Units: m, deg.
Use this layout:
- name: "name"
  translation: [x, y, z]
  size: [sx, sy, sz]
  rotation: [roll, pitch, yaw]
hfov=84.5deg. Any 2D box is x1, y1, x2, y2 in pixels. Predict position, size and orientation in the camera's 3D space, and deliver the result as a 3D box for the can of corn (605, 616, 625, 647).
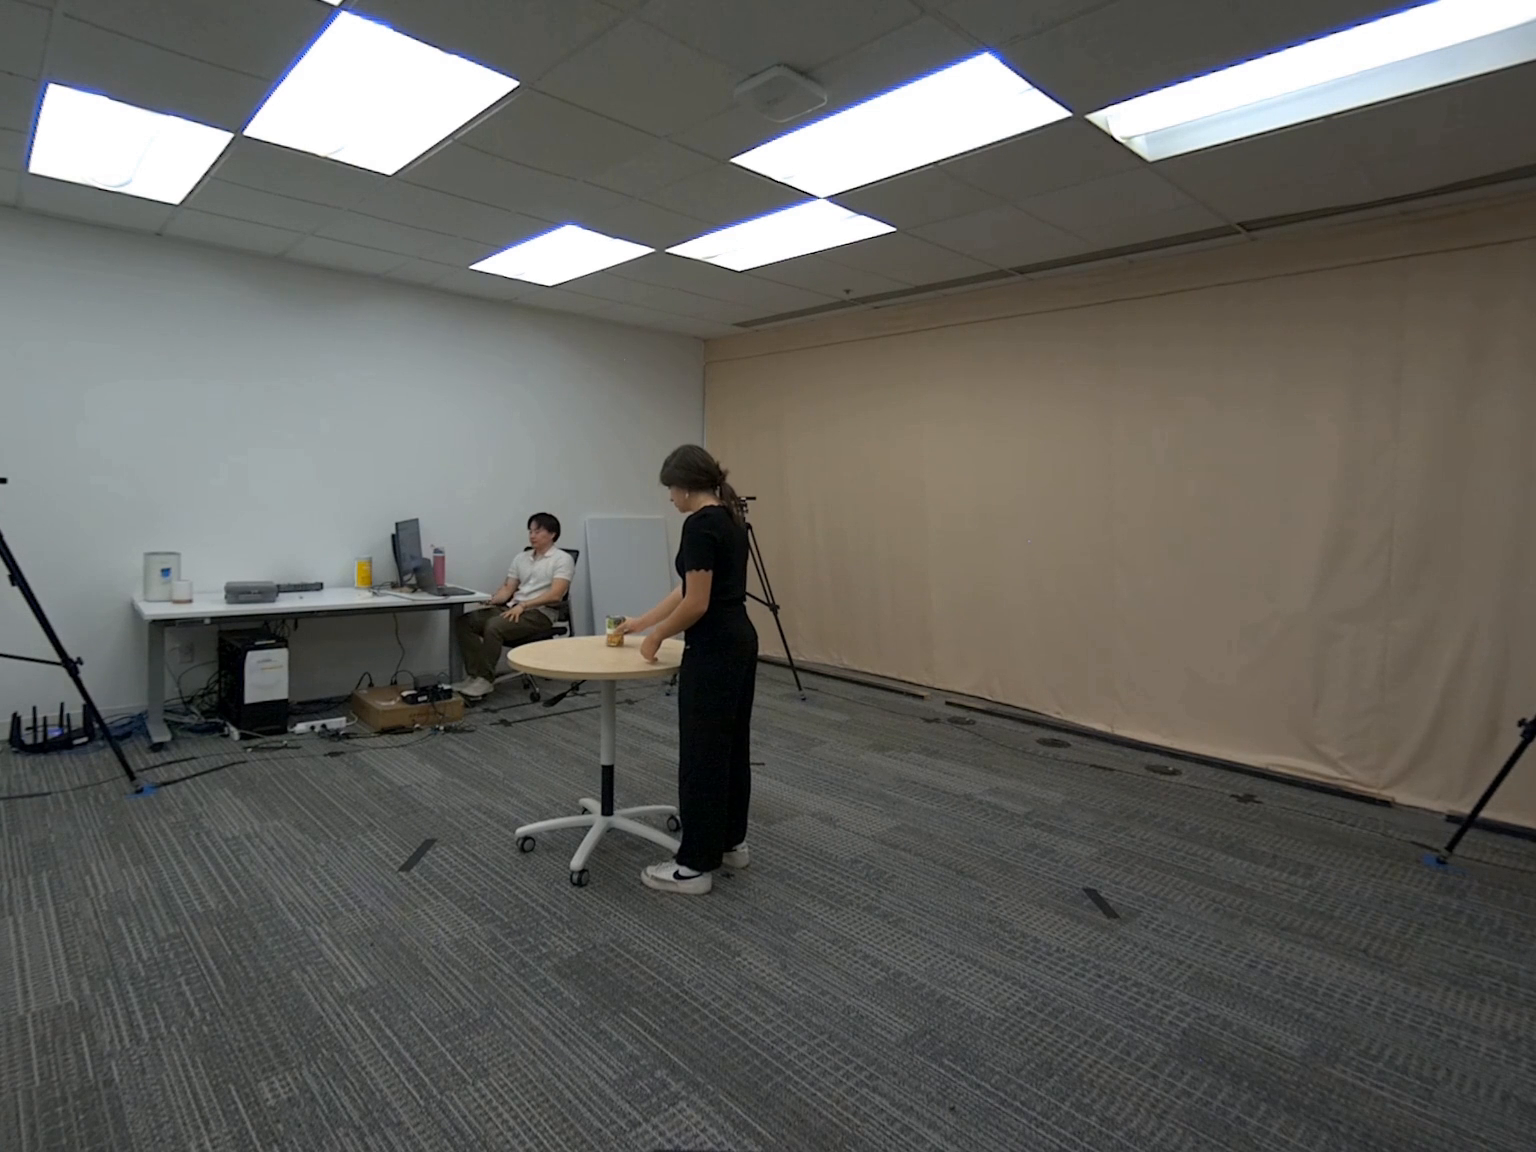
- name: "can of corn"
  translation: [-0.634, 0.220, 3.408]
  size: [0.074, 0.111, 0.074]
  rotation: [2, 1, -1]
